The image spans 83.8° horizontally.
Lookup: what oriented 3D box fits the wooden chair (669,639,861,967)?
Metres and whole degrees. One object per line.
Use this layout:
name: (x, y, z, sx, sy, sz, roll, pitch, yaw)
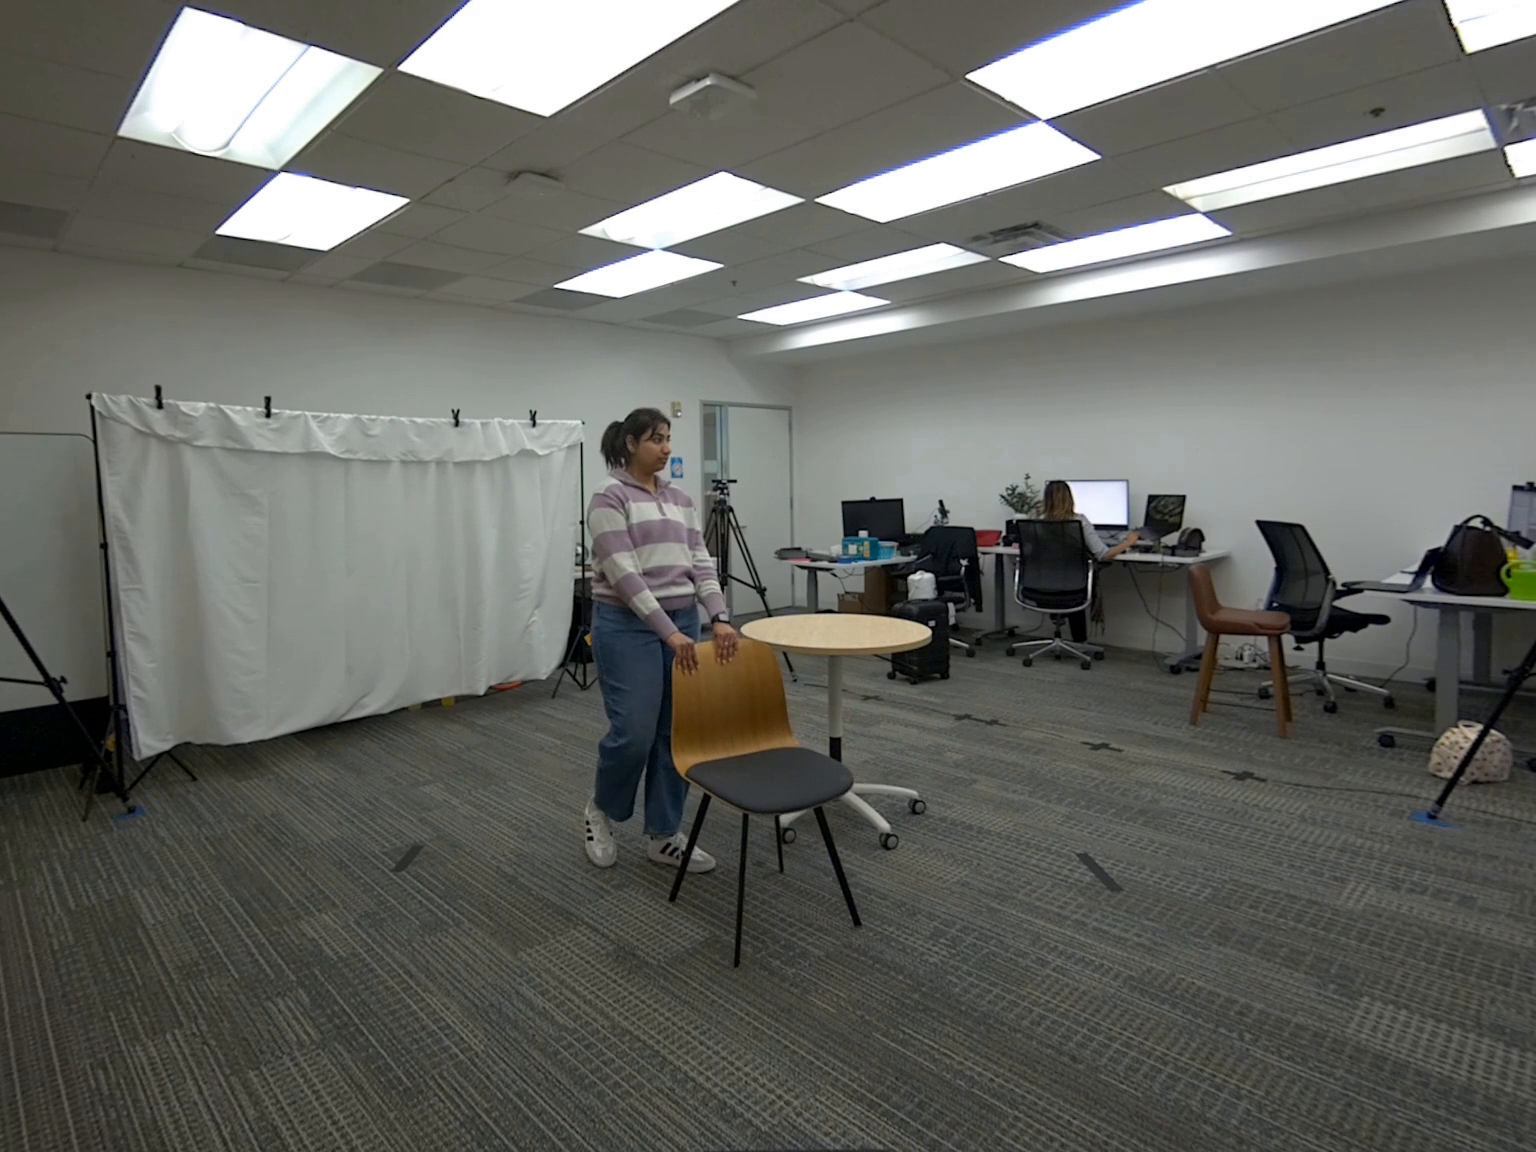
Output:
wooden chair: (-0.025, 0.665, 2.717, 0.467, 0.878, 0.536, -3, 0, -31)
